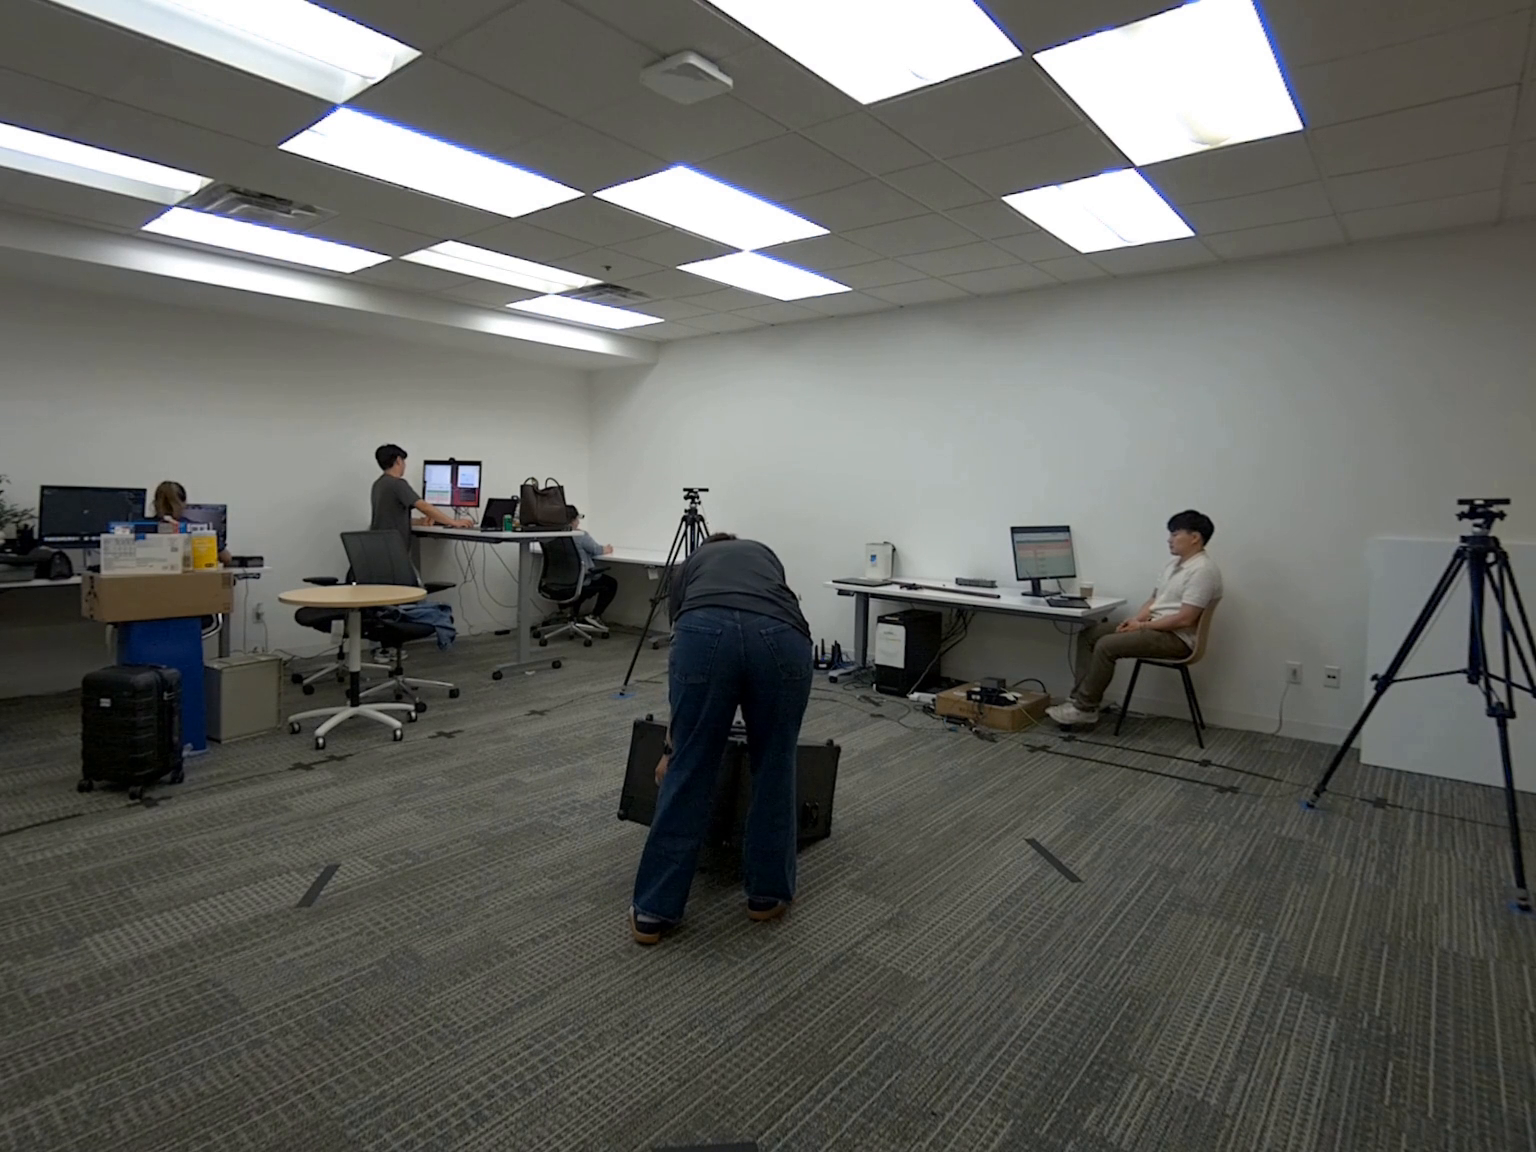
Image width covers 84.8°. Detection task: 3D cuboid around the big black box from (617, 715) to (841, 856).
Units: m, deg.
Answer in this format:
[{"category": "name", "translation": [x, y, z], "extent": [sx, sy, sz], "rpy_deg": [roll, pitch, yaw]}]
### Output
[{"category": "big black box", "translation": [-0.120, 0.791, 3.317], "extent": [0.539, 0.388, 0.836], "rpy_deg": [3, -10, 32]}]
